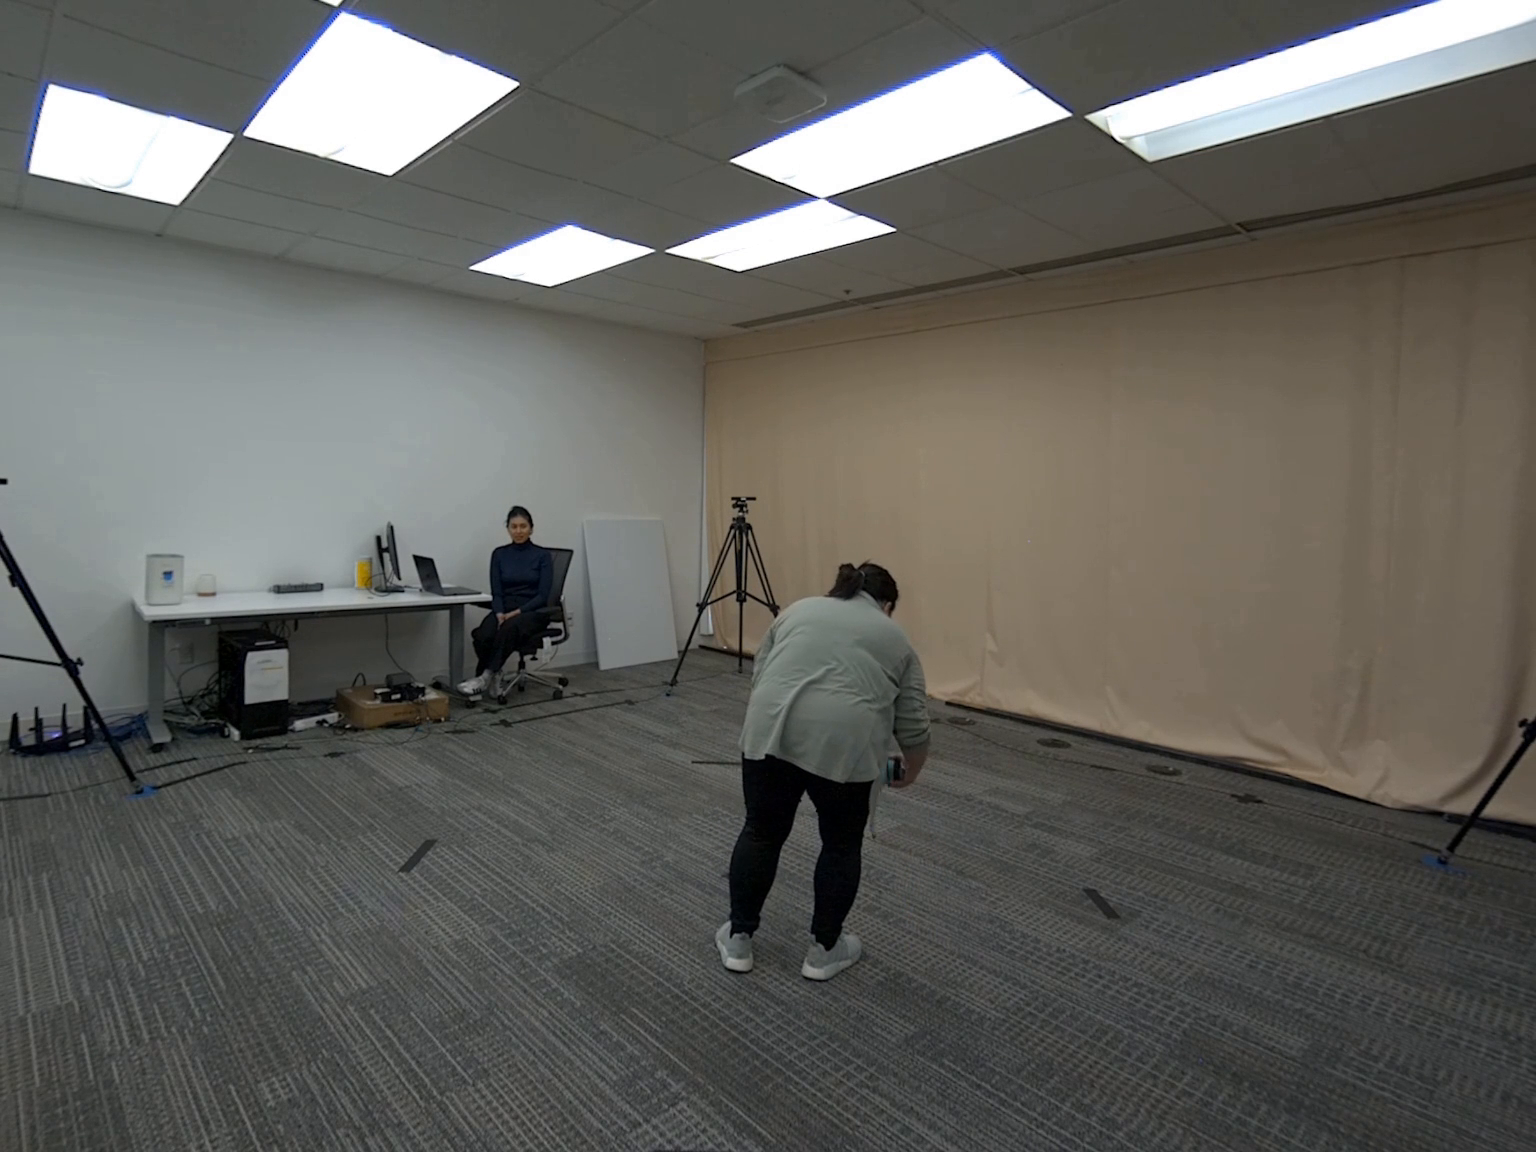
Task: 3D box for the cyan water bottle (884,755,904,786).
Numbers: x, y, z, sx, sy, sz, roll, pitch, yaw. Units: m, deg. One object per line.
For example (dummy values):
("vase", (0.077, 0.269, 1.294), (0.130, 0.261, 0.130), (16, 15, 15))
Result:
("cyan water bottle", (0.302, 0.655, 2.736), (0.285, 0.092, 0.092), (-3, 3, 10))
